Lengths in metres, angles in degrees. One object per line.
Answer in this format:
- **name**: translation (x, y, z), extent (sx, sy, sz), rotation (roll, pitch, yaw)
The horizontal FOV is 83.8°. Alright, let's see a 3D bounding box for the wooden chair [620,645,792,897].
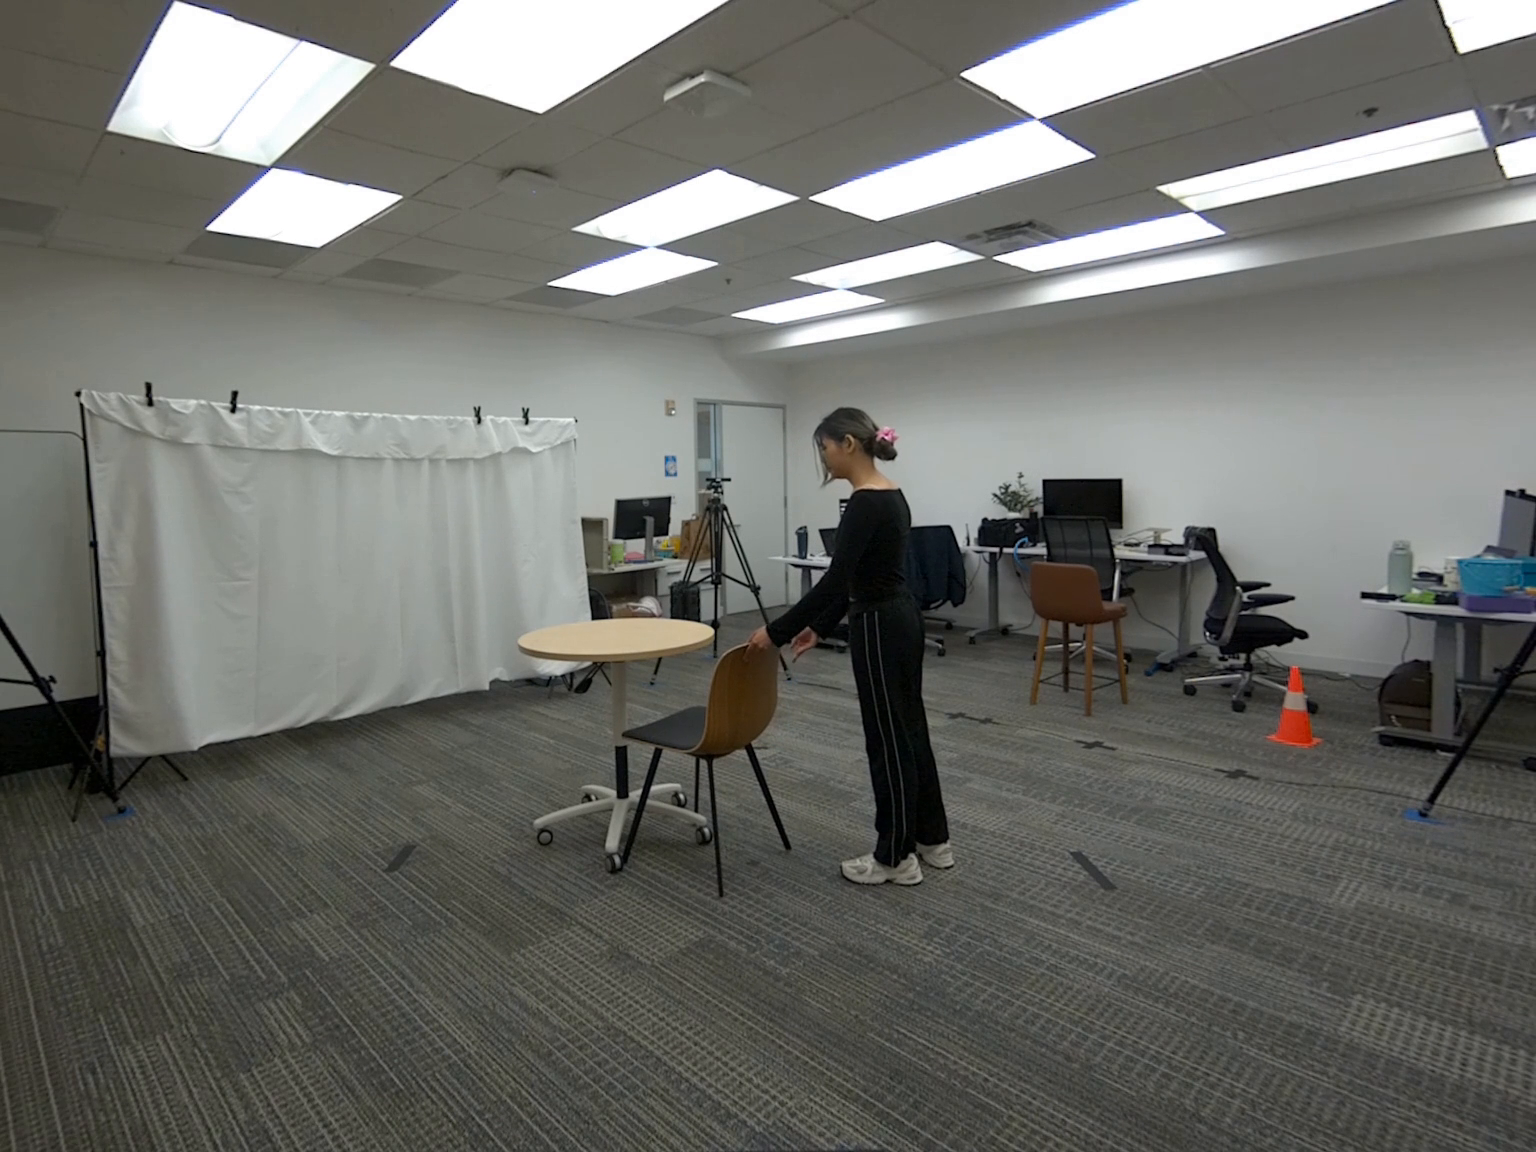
- **wooden chair**: translation (-0.232, 0.611, 3.126), extent (0.539, 0.872, 0.467), rotation (8, 9, 34)
